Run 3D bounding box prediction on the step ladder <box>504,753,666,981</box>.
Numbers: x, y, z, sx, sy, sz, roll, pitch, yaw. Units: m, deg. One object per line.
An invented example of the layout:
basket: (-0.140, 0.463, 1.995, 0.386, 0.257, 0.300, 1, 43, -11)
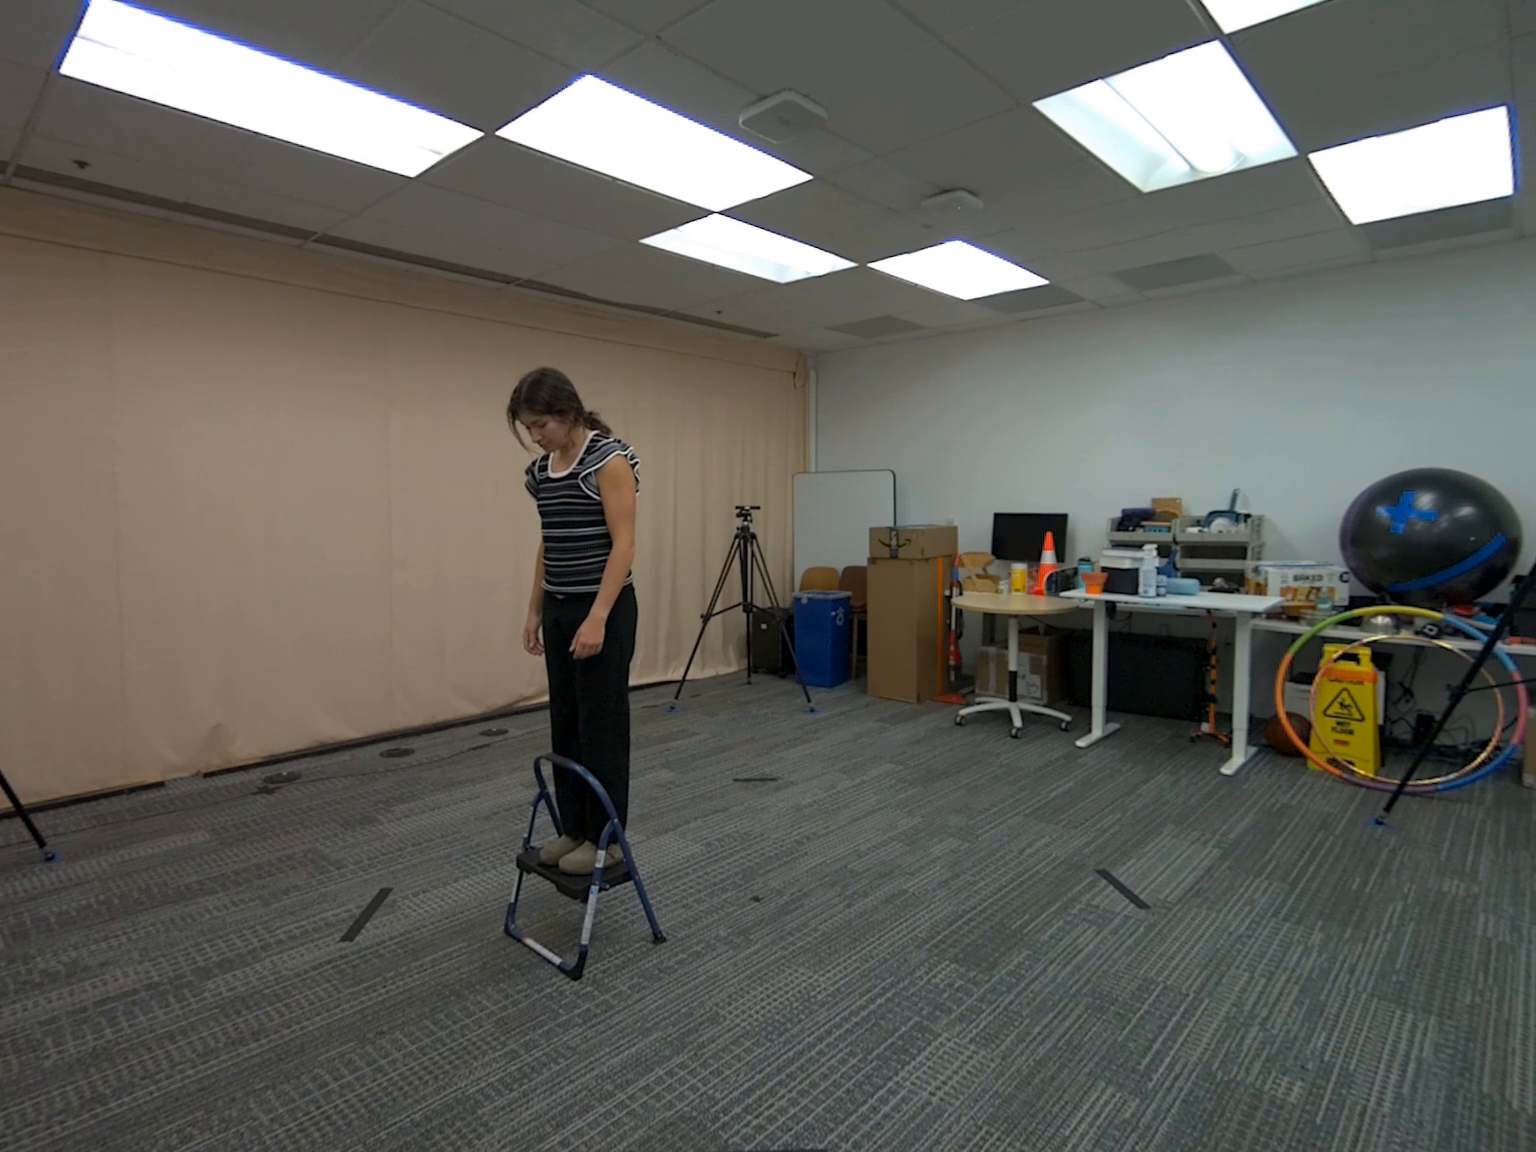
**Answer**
step ladder: (-0.602, 0.870, 2.716, 0.445, 0.605, 0.338, 3, 4, 43)
